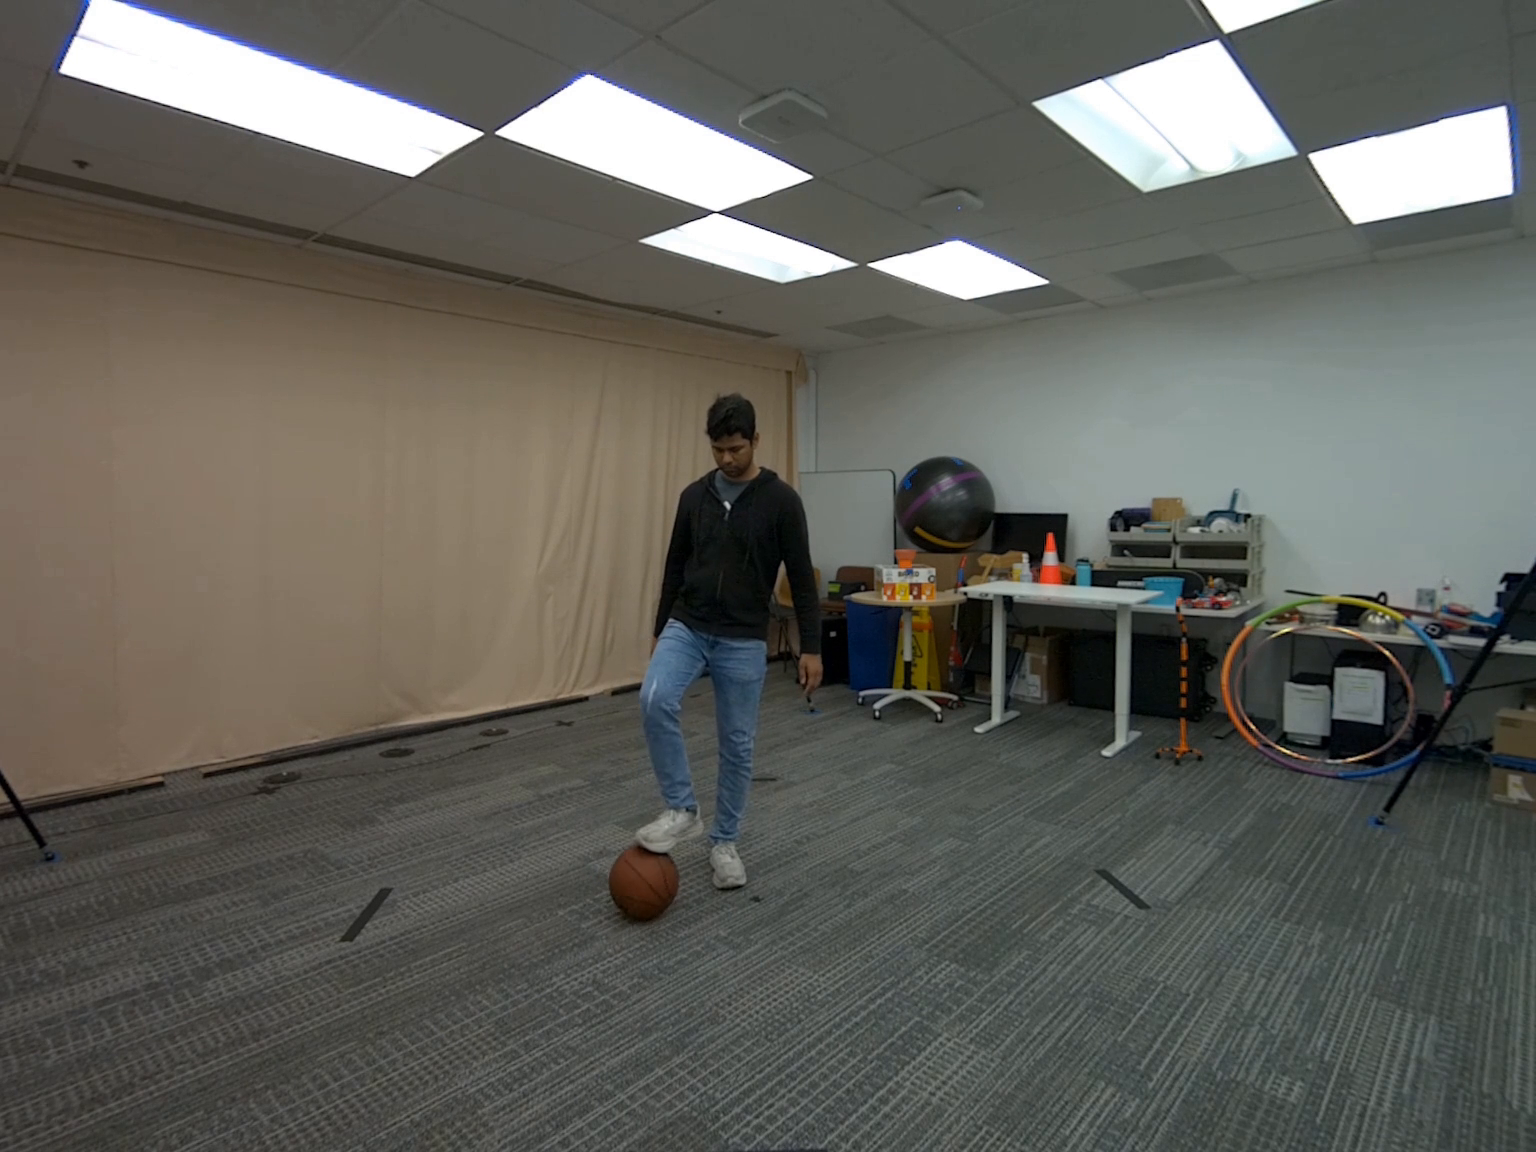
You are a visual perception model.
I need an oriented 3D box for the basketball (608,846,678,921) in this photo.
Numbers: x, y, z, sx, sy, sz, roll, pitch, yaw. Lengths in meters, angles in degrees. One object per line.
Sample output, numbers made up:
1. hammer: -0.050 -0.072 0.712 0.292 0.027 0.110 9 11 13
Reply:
1. basketball: -0.422 1.037 2.864 0.236 0.235 0.237 0 4 -2
